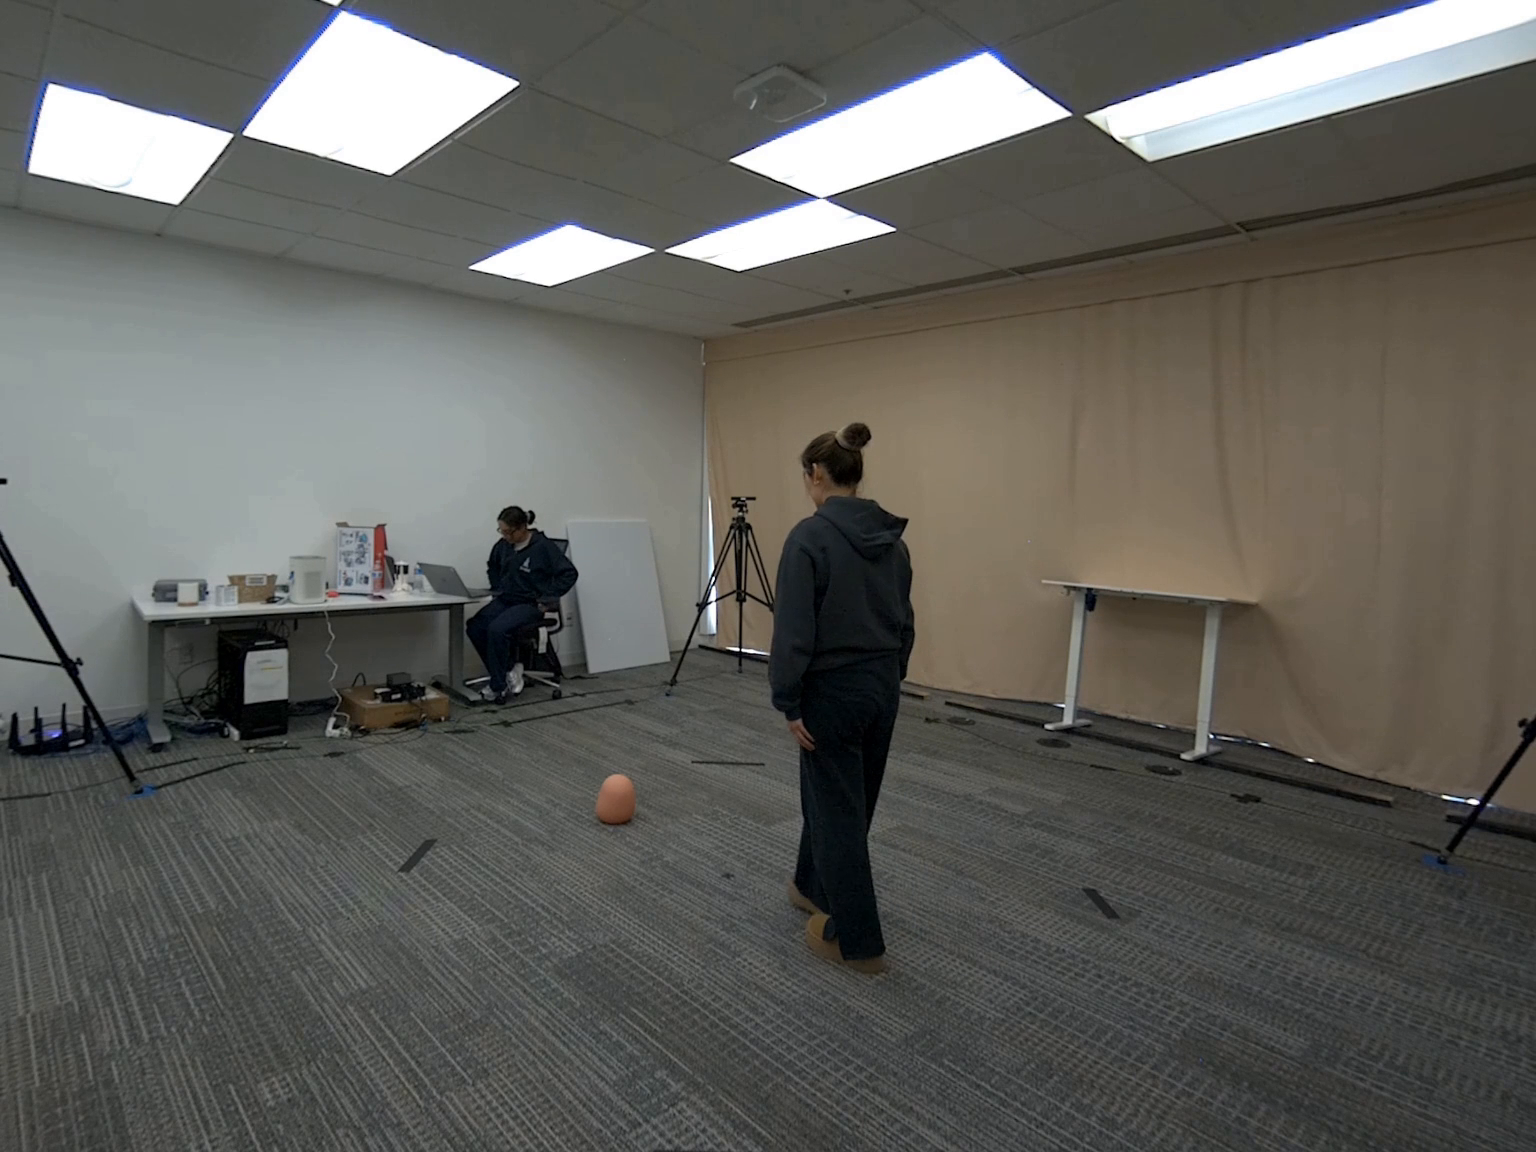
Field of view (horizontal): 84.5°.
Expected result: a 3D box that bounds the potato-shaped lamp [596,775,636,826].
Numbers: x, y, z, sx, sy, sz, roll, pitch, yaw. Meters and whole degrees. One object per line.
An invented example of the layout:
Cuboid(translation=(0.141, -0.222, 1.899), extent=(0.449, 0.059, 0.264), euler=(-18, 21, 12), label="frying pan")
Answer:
Cuboid(translation=(-0.663, 0.950, 3.615), extent=(0.161, 0.197, 0.176), euler=(-2, 5, -39), label="potato-shaped lamp")
